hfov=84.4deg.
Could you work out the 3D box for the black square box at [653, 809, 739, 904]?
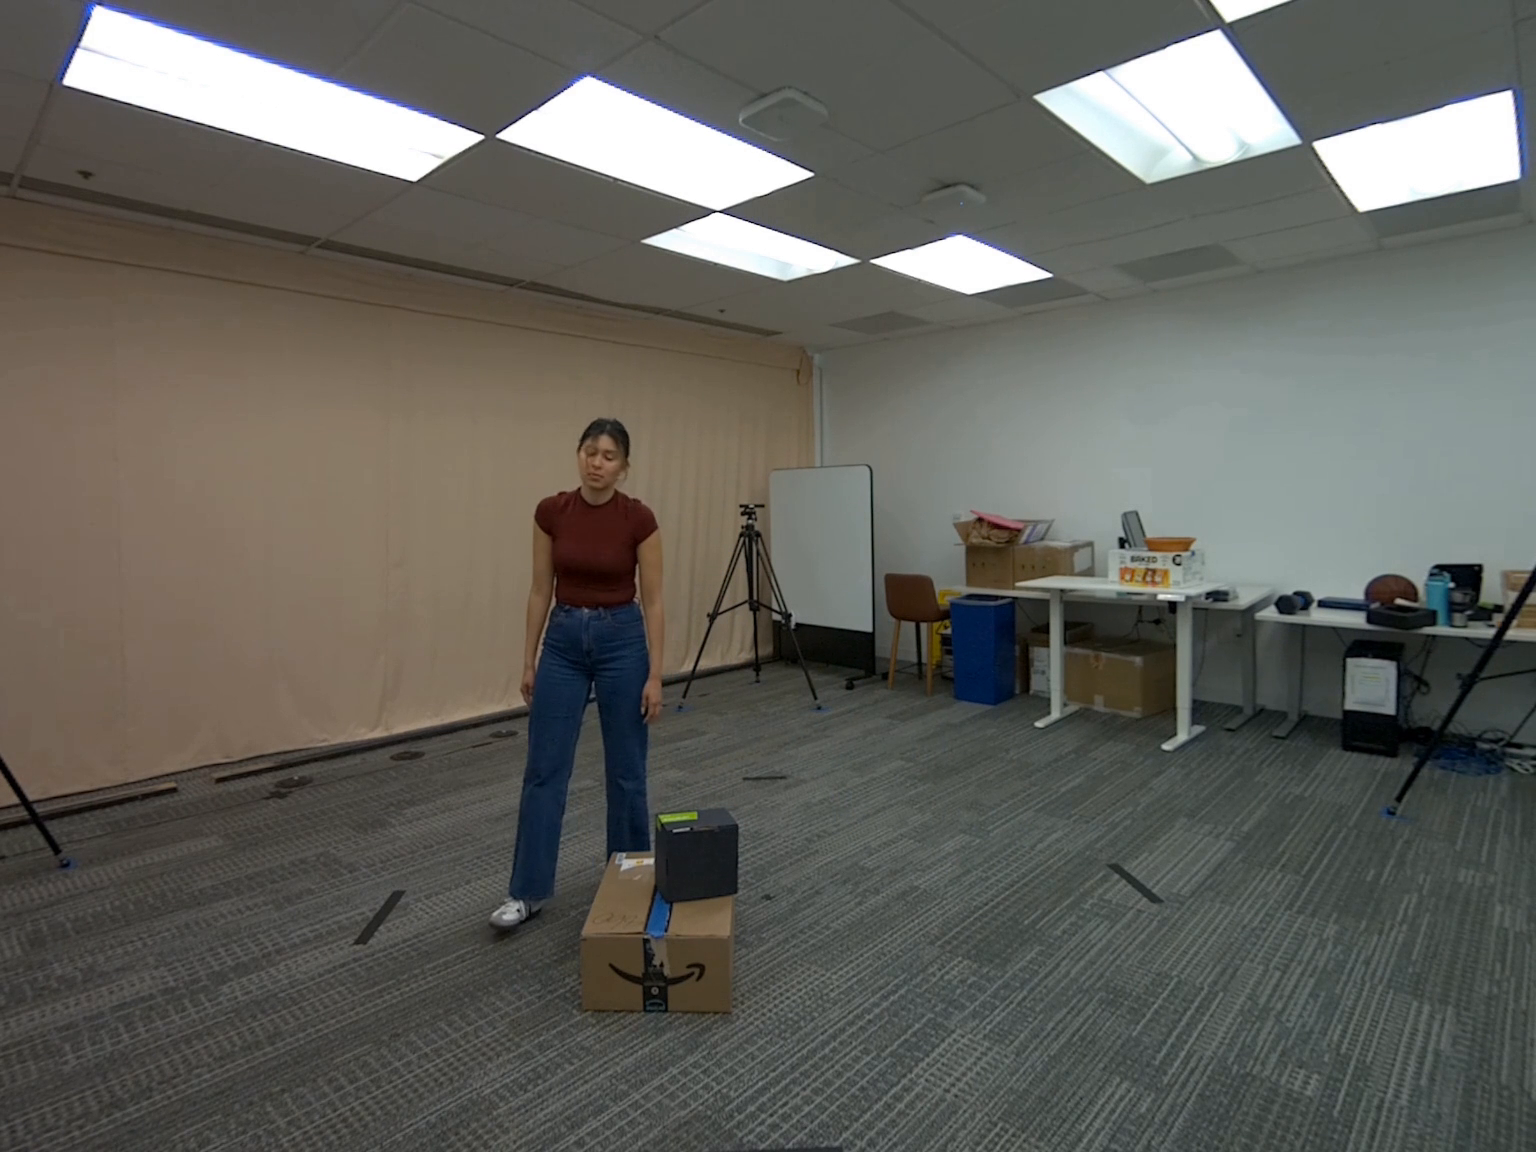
[{"bbox_3d":[-0.220,0.844,2.588,0.224,0.216,0.159,-1,4,-17],"label":"black square box"}]
